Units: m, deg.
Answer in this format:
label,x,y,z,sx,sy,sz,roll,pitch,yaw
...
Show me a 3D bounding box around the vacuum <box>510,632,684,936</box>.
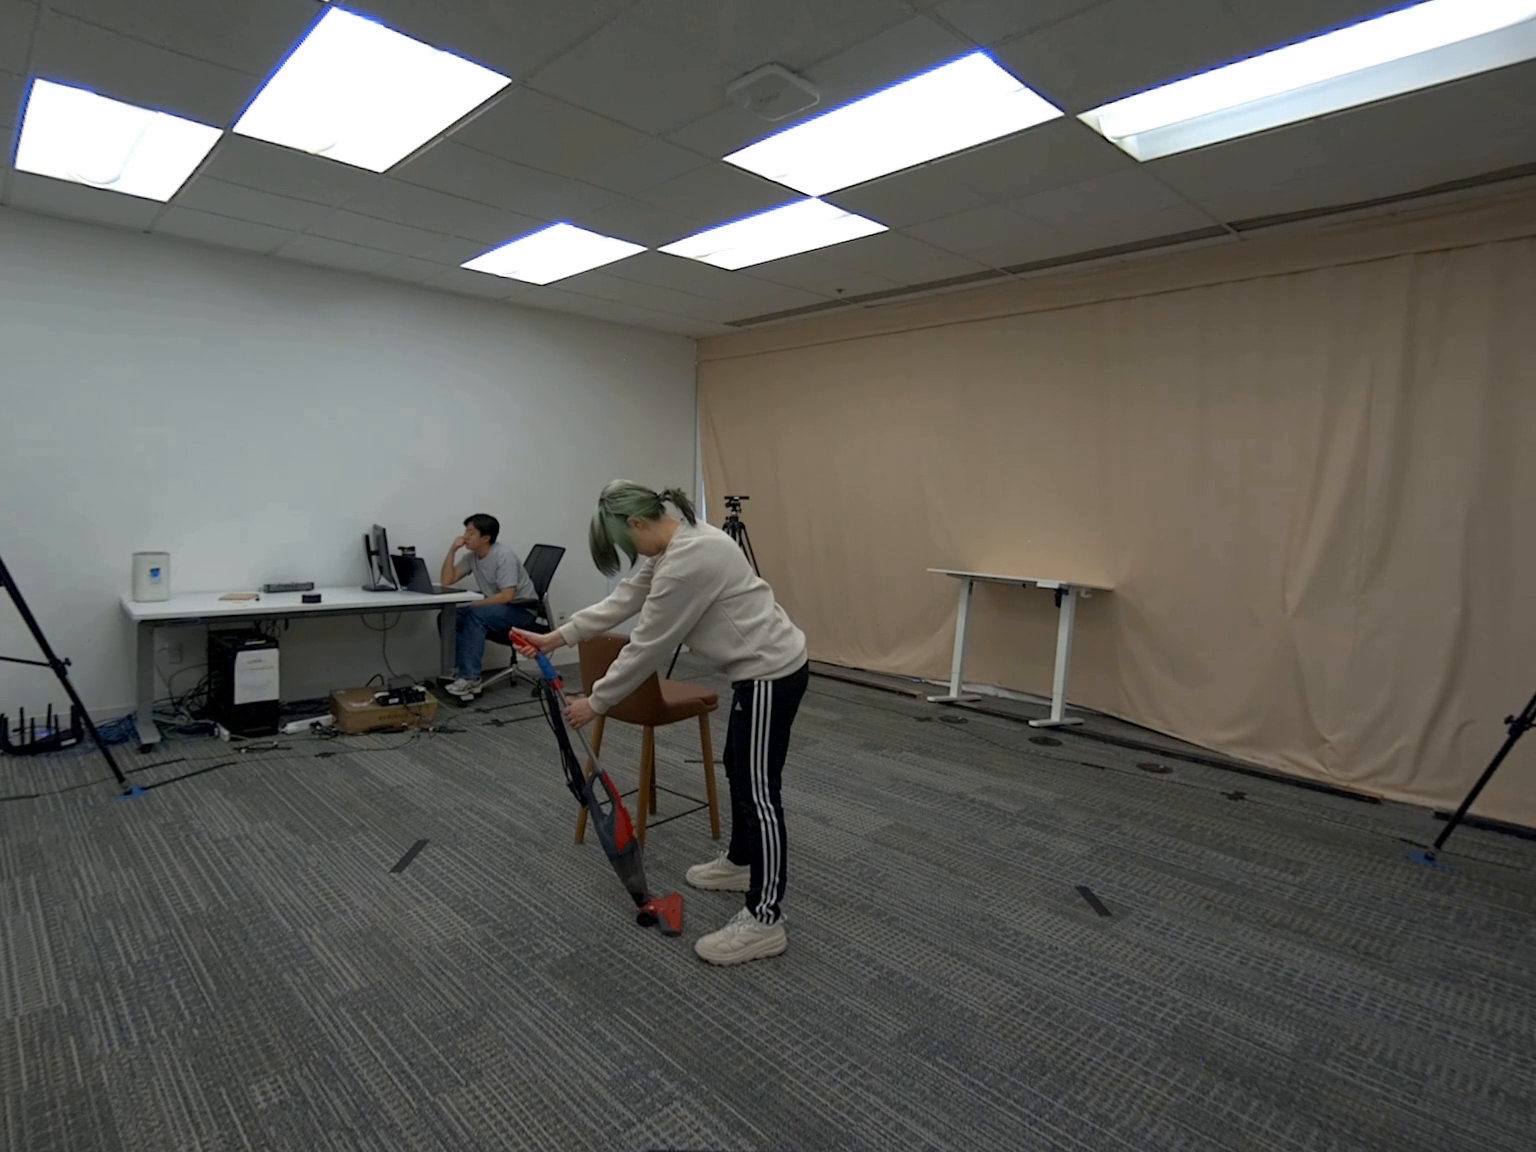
label,x,y,z,sx,sy,sz,roll,pitch,yaw
vacuum,-0.596,0.664,2.740,0.143,1.043,0.255,-28,5,-11
